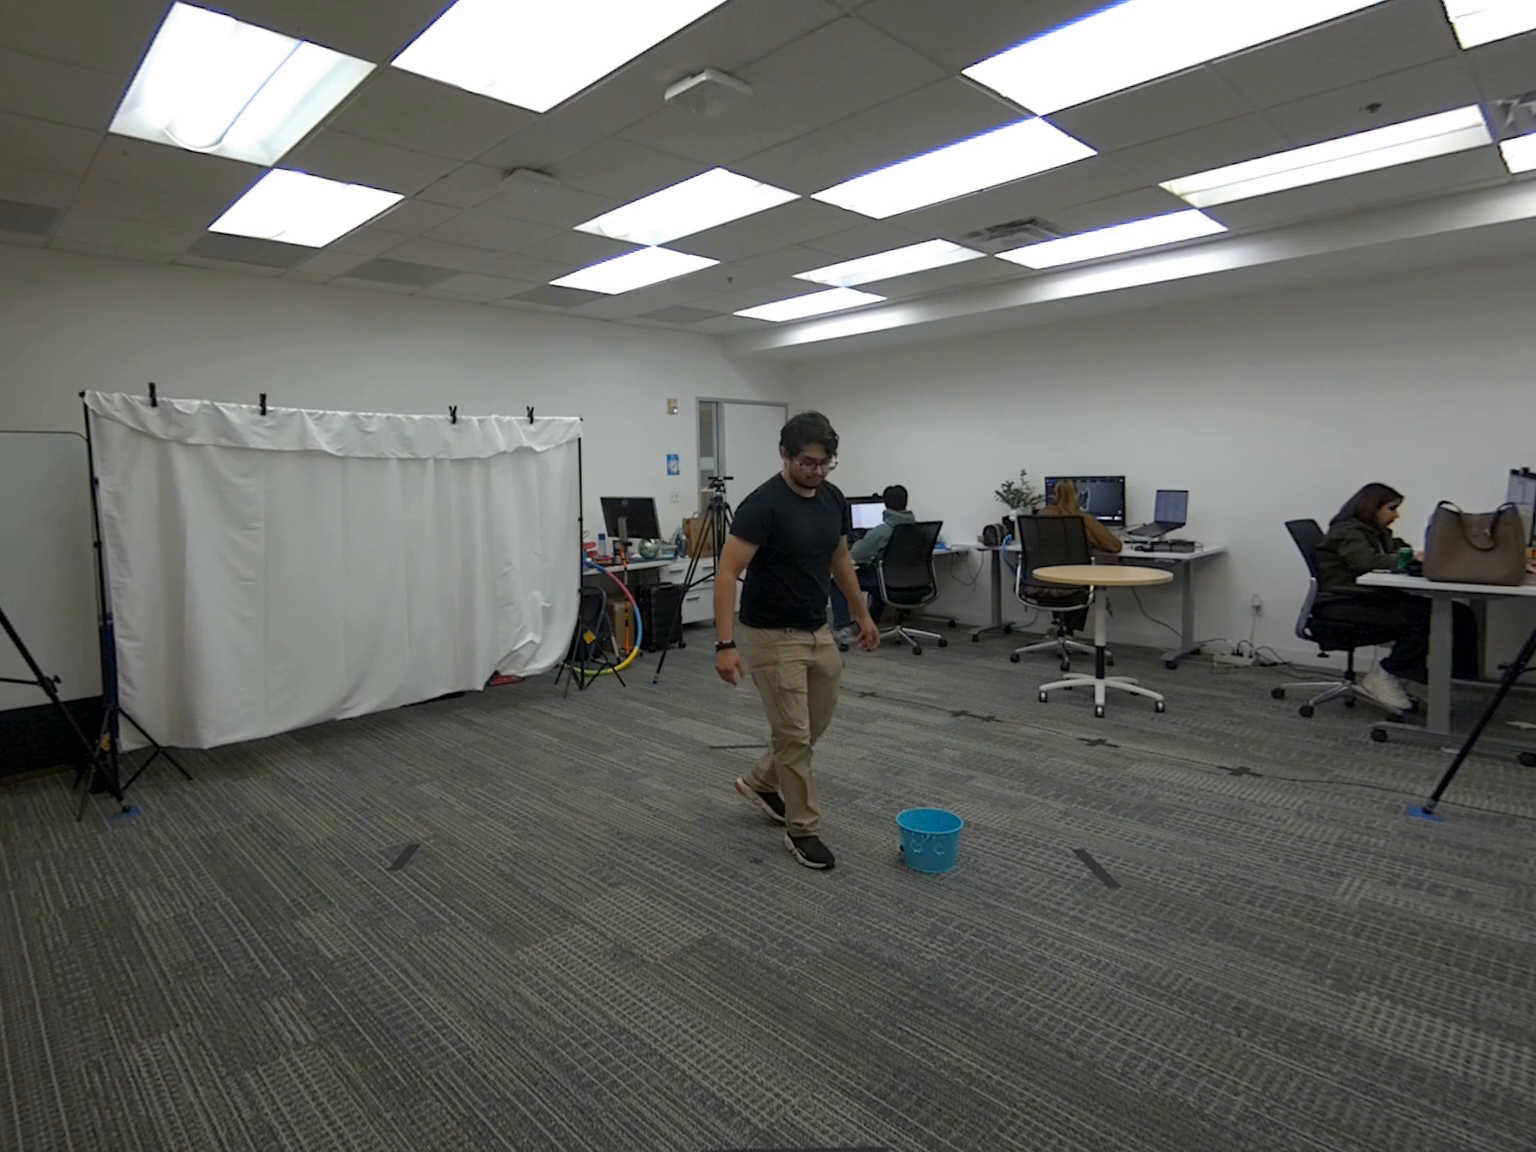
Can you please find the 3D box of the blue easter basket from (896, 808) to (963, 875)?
[{"bbox_3d":[0.577,0.946,3.073,0.243,0.155,0.245,-1,6,-2],"label":"blue easter basket"}]
